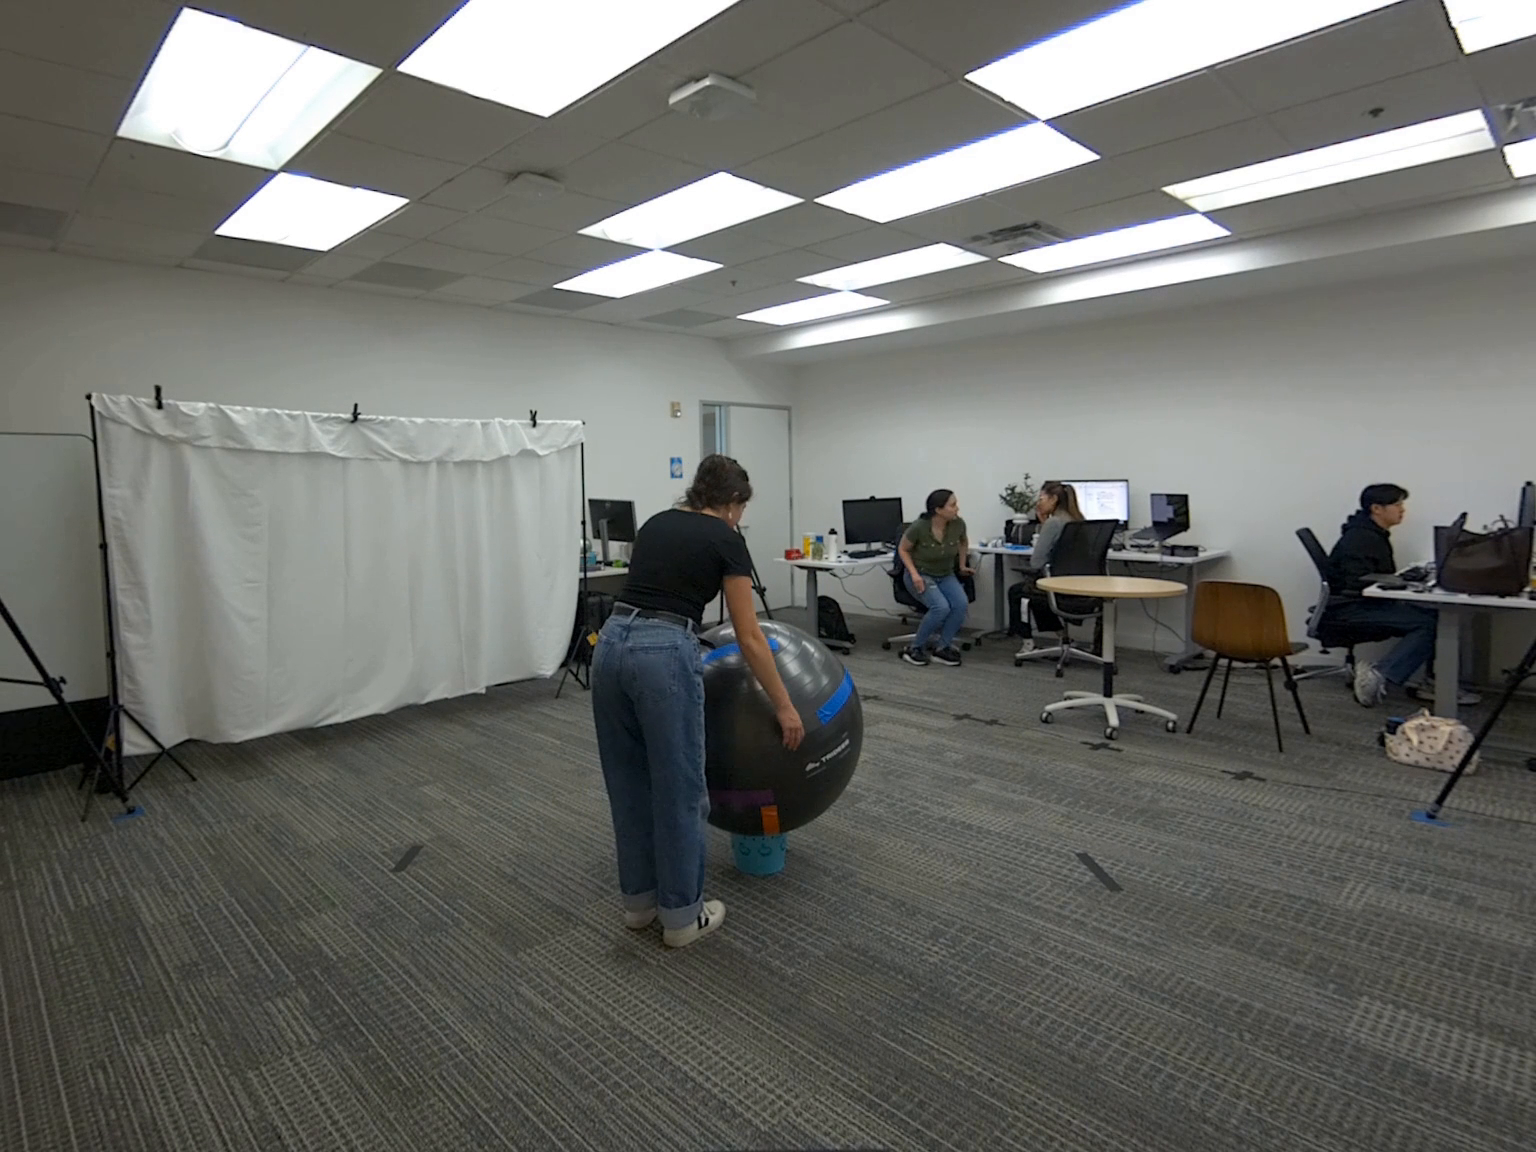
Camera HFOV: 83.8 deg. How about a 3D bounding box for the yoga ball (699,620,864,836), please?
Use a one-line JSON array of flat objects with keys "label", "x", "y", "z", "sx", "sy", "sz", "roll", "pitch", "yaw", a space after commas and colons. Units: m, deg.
[{"label": "yoga ball", "x": -0.037, "y": 0.544, "z": 3.075, "sx": 0.757, "sy": 0.755, "sz": 0.762, "roll": -1, "pitch": 5, "yaw": -2}]
